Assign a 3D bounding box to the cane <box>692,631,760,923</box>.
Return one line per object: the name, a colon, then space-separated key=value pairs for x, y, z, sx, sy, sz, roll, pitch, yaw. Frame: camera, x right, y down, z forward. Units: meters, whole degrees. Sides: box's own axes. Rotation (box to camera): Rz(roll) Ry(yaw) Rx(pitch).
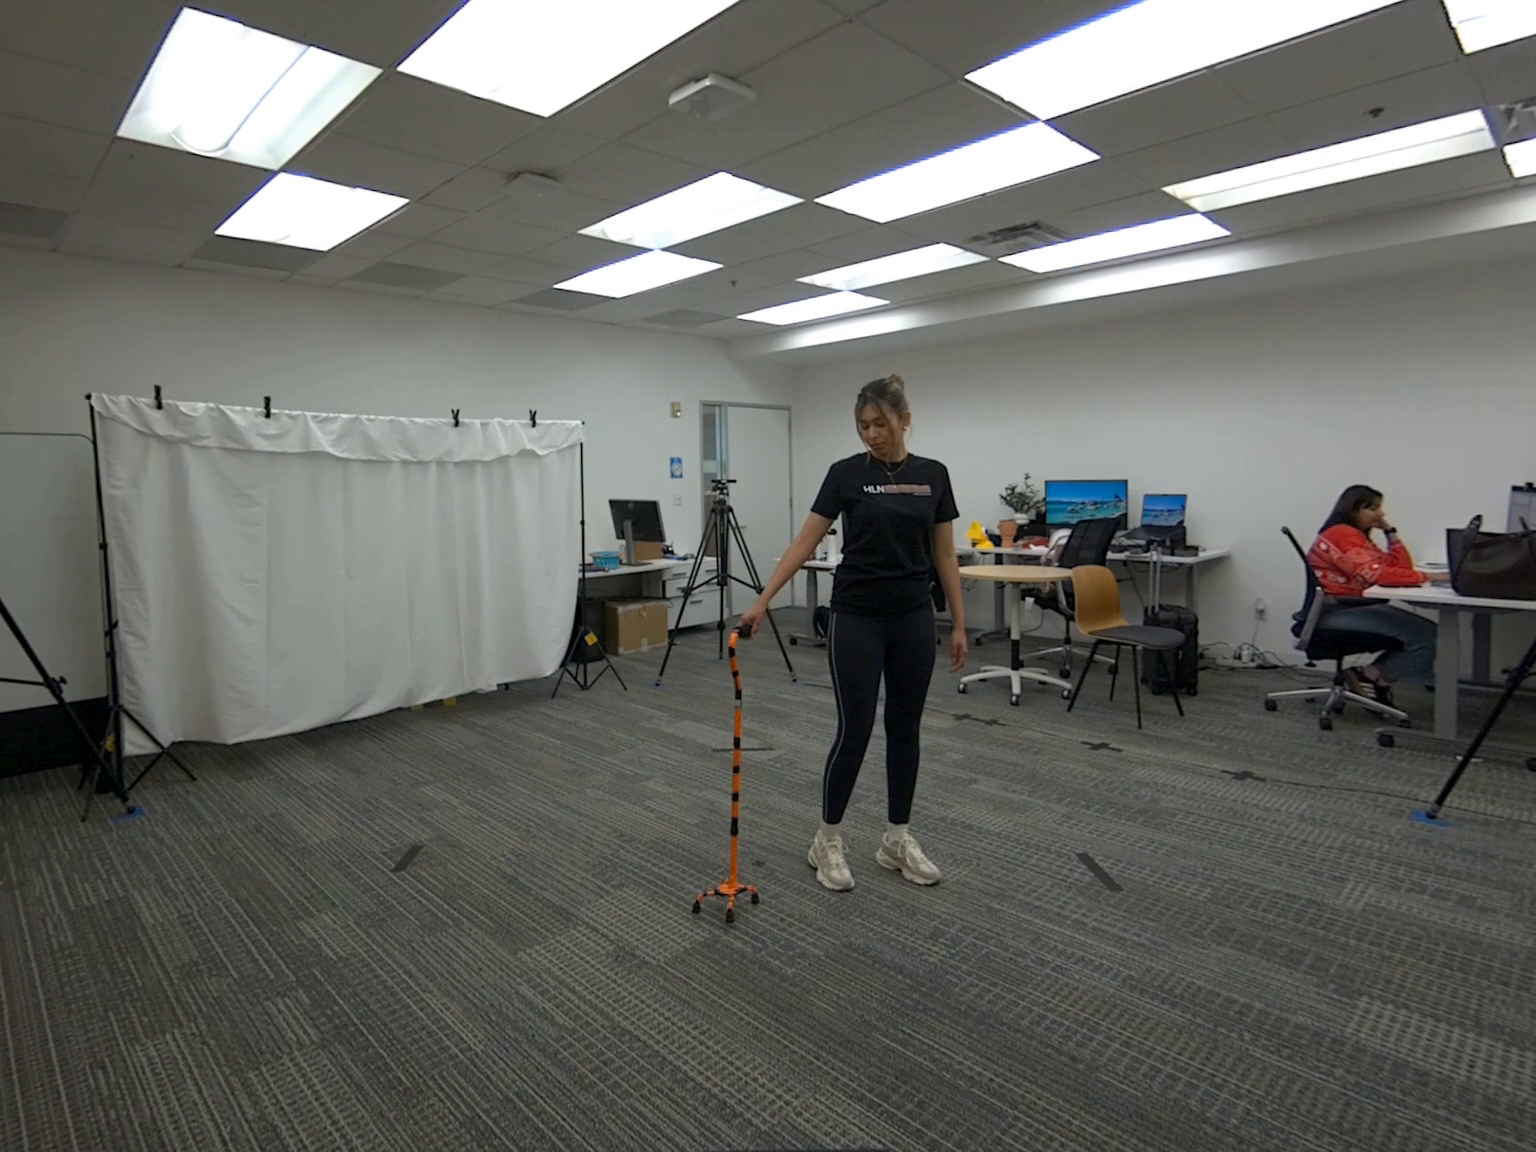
cane: x=-0.115 y=0.623 z=2.786 sx=0.155 sy=0.909 sz=0.201 roll=1 pitch=-1 yaw=24
